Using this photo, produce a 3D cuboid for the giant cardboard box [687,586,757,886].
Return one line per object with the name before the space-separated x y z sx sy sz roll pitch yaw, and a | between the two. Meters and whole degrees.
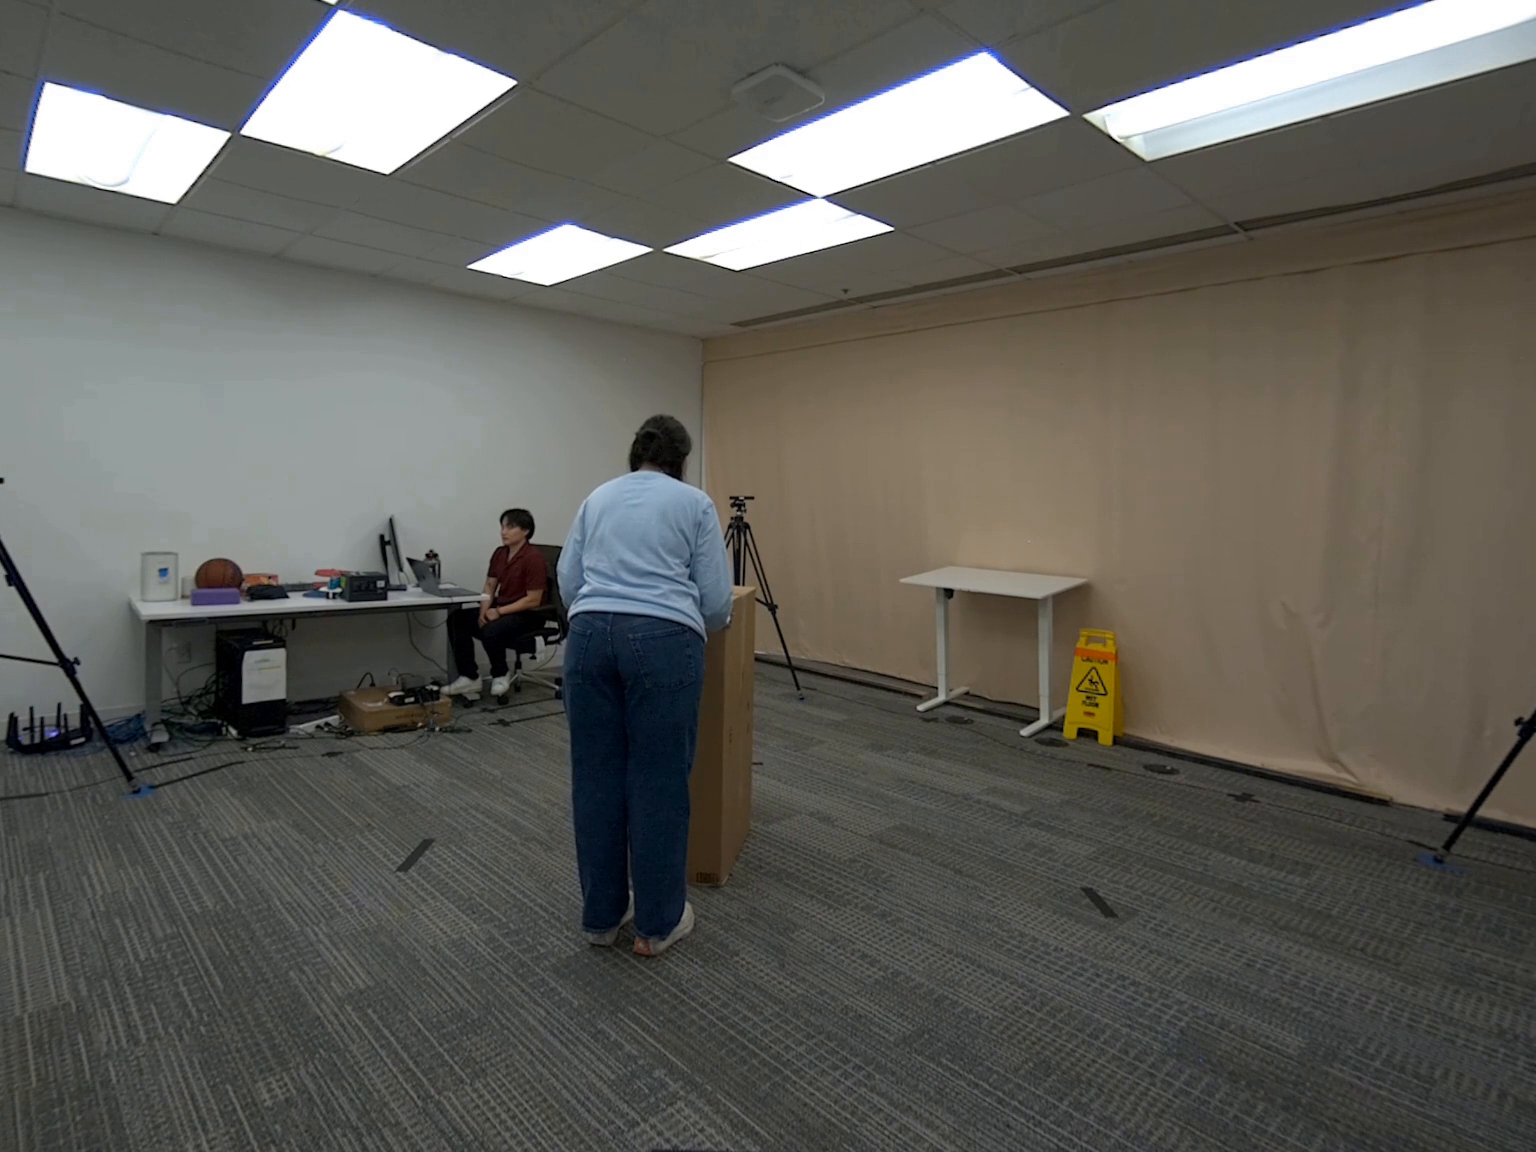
giant cardboard box | -0.316 0.575 3.296 0.430 1.023 0.574 2 4 10
